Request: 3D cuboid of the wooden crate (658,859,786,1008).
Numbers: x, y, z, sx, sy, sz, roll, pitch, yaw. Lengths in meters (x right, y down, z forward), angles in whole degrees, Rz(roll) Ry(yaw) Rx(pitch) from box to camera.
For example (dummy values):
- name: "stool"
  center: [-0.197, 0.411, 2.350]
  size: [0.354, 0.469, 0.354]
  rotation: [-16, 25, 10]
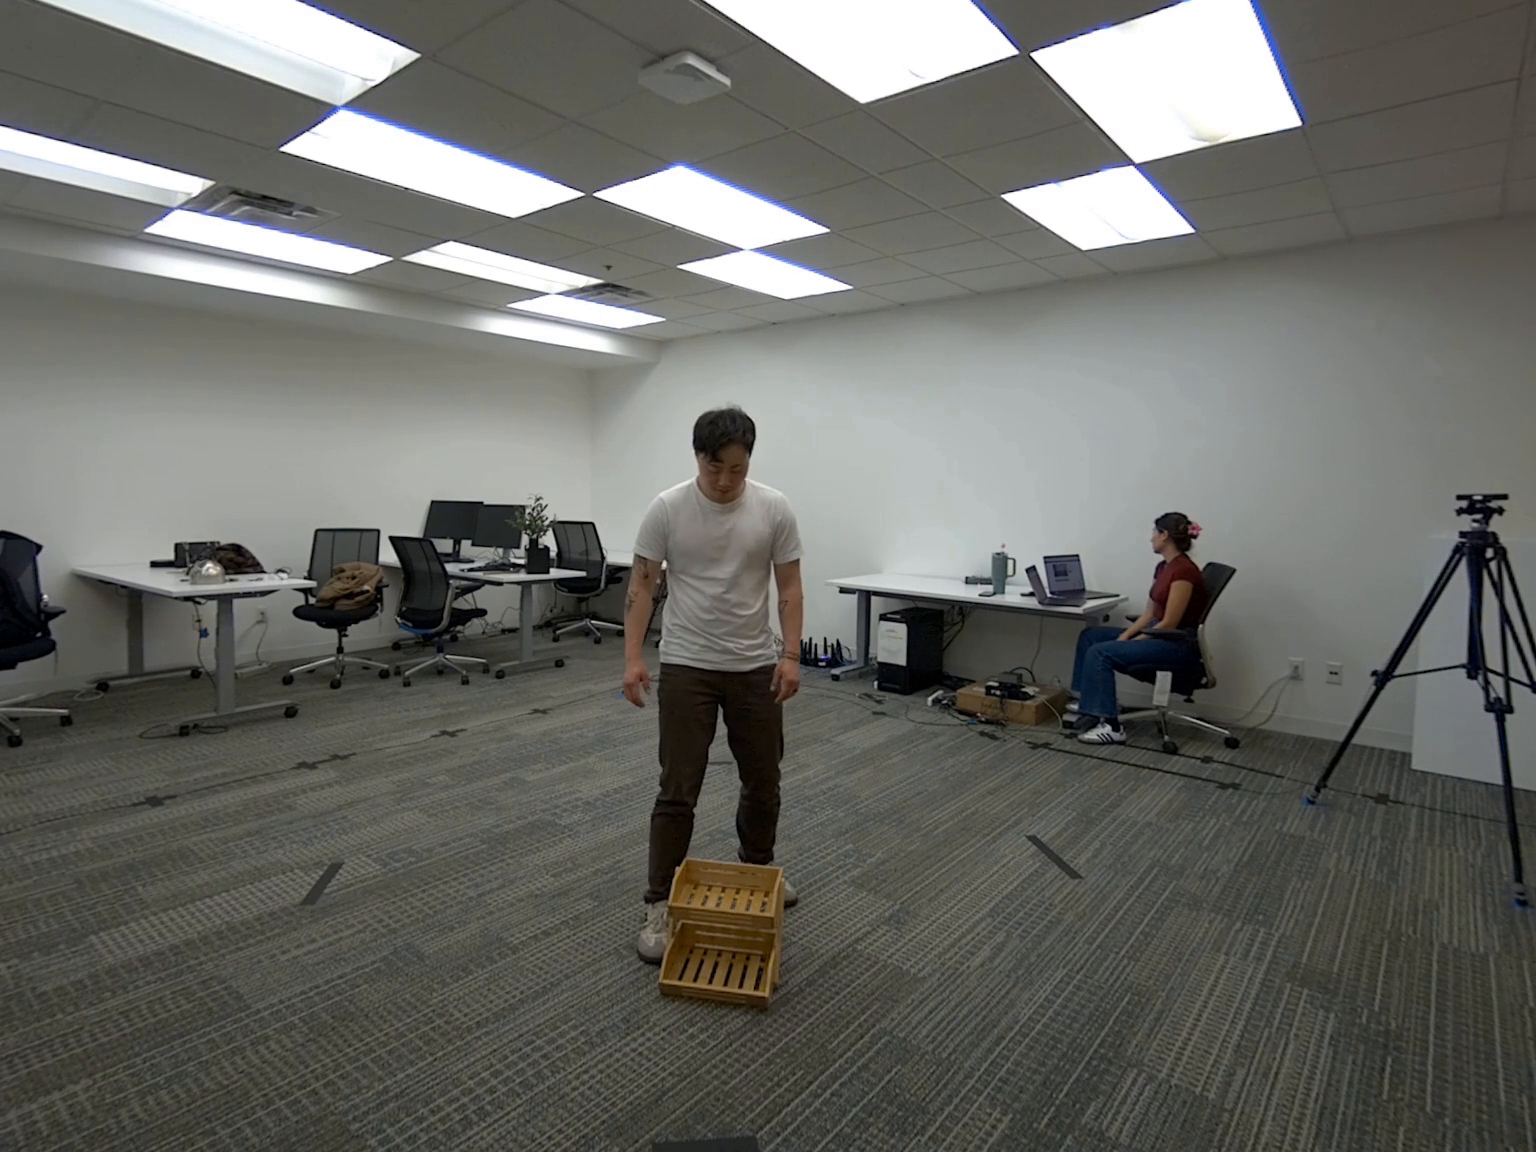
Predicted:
- name: "wooden crate"
  center: [-0.136, 1.006, 2.417]
  size: [0.327, 0.272, 0.301]
  rotation: [1, 4, 6]
